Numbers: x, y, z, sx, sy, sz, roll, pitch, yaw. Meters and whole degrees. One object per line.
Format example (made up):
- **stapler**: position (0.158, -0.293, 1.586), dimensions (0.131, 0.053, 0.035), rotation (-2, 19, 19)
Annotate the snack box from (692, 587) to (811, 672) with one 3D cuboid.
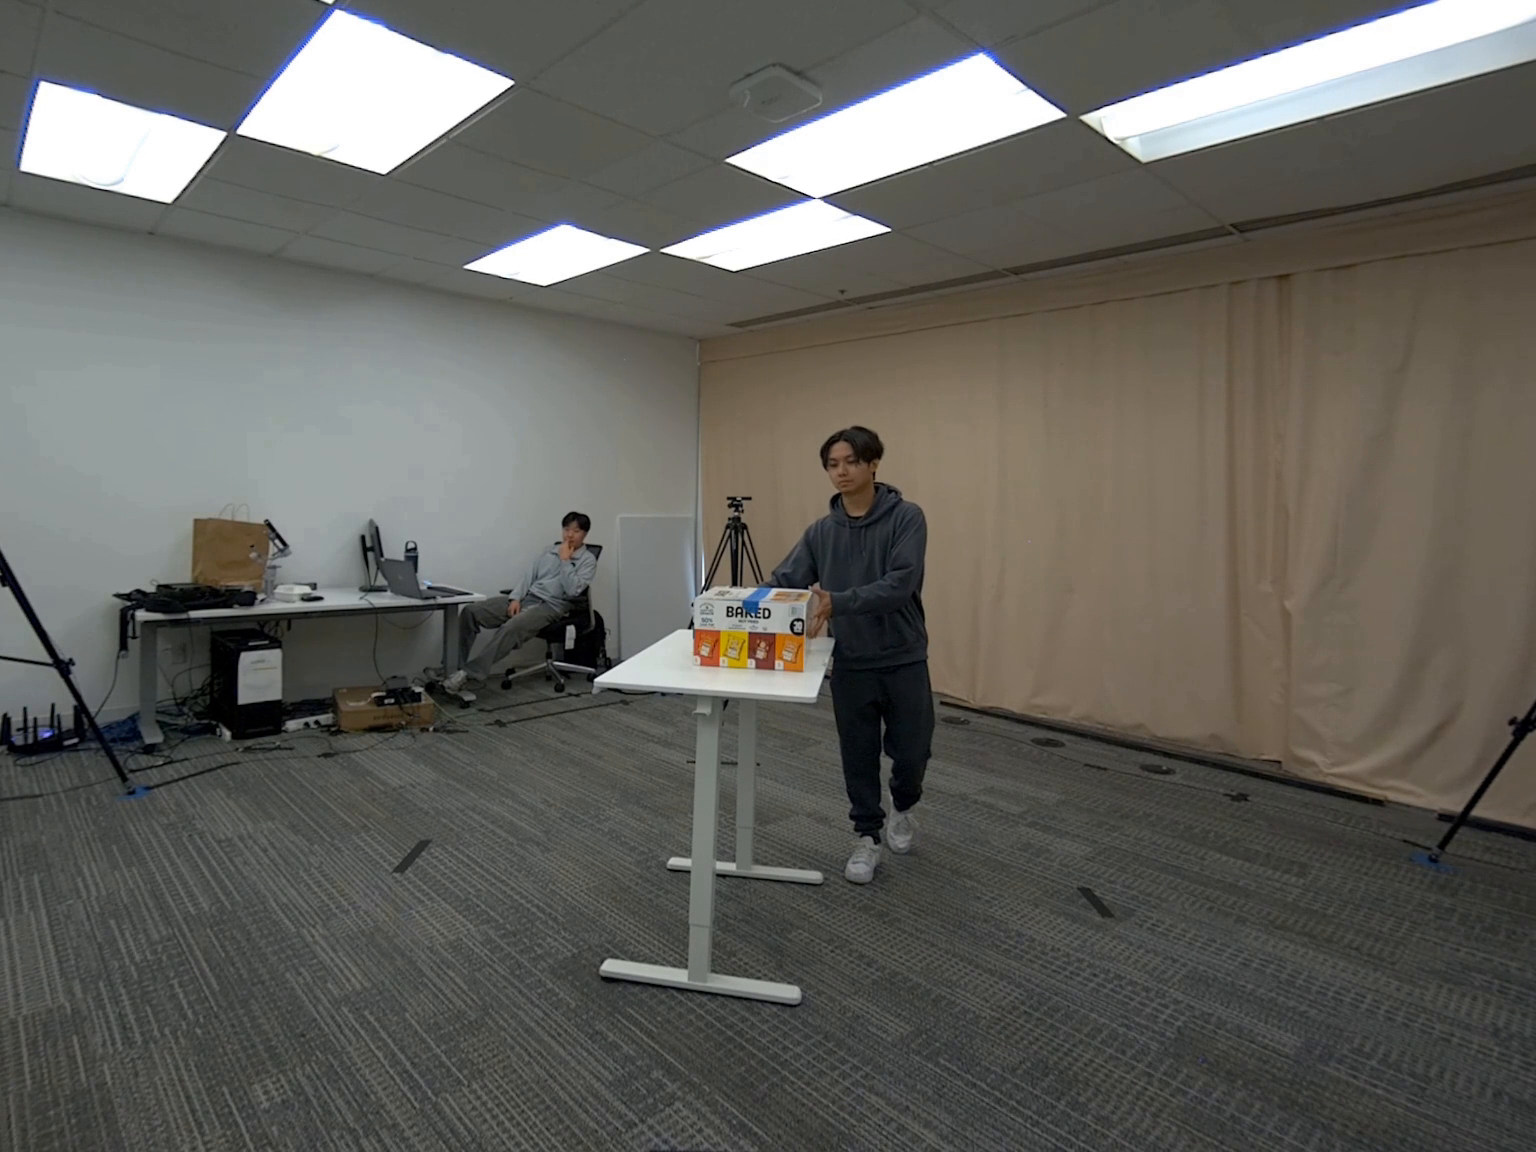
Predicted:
- **snack box**: position (-0.042, 0.163, 2.697), dimensions (0.343, 0.205, 0.403), rotation (3, 4, 8)
